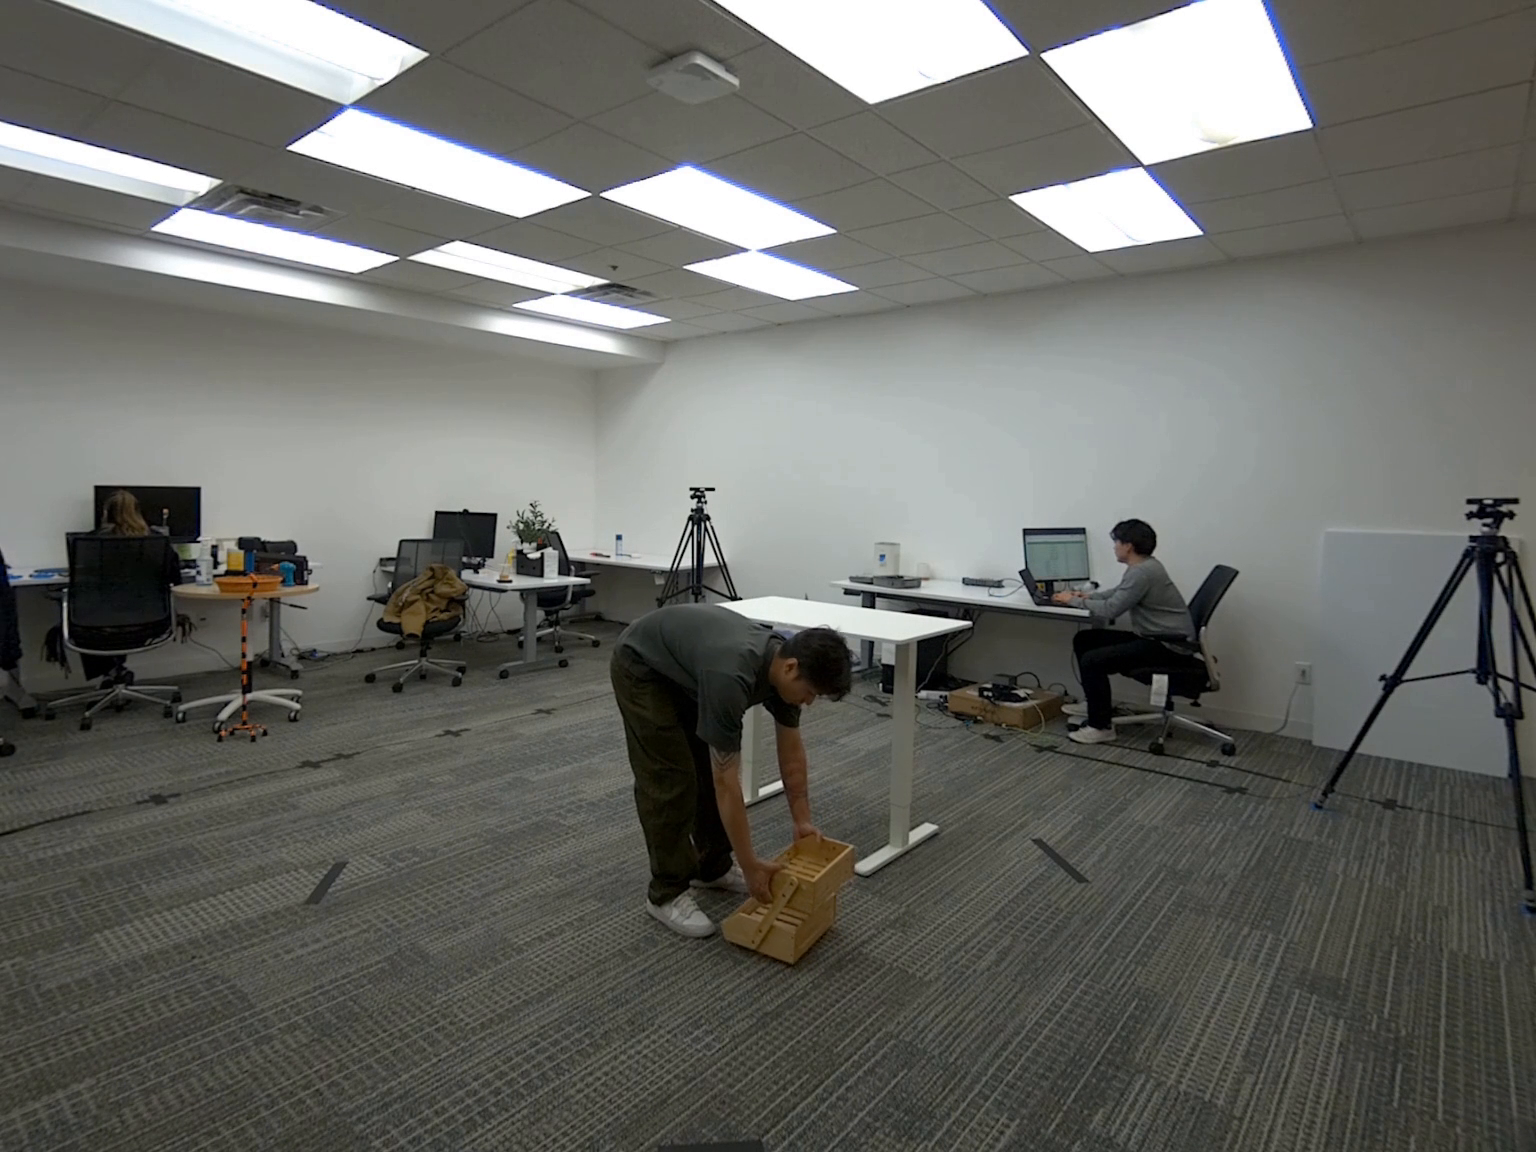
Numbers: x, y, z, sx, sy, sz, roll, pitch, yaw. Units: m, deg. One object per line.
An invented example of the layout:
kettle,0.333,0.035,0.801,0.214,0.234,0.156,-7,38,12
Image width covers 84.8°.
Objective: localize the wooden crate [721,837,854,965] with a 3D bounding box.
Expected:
wooden crate,0.056,0.963,2.626,0.311,0.272,0.316,6,6,30
